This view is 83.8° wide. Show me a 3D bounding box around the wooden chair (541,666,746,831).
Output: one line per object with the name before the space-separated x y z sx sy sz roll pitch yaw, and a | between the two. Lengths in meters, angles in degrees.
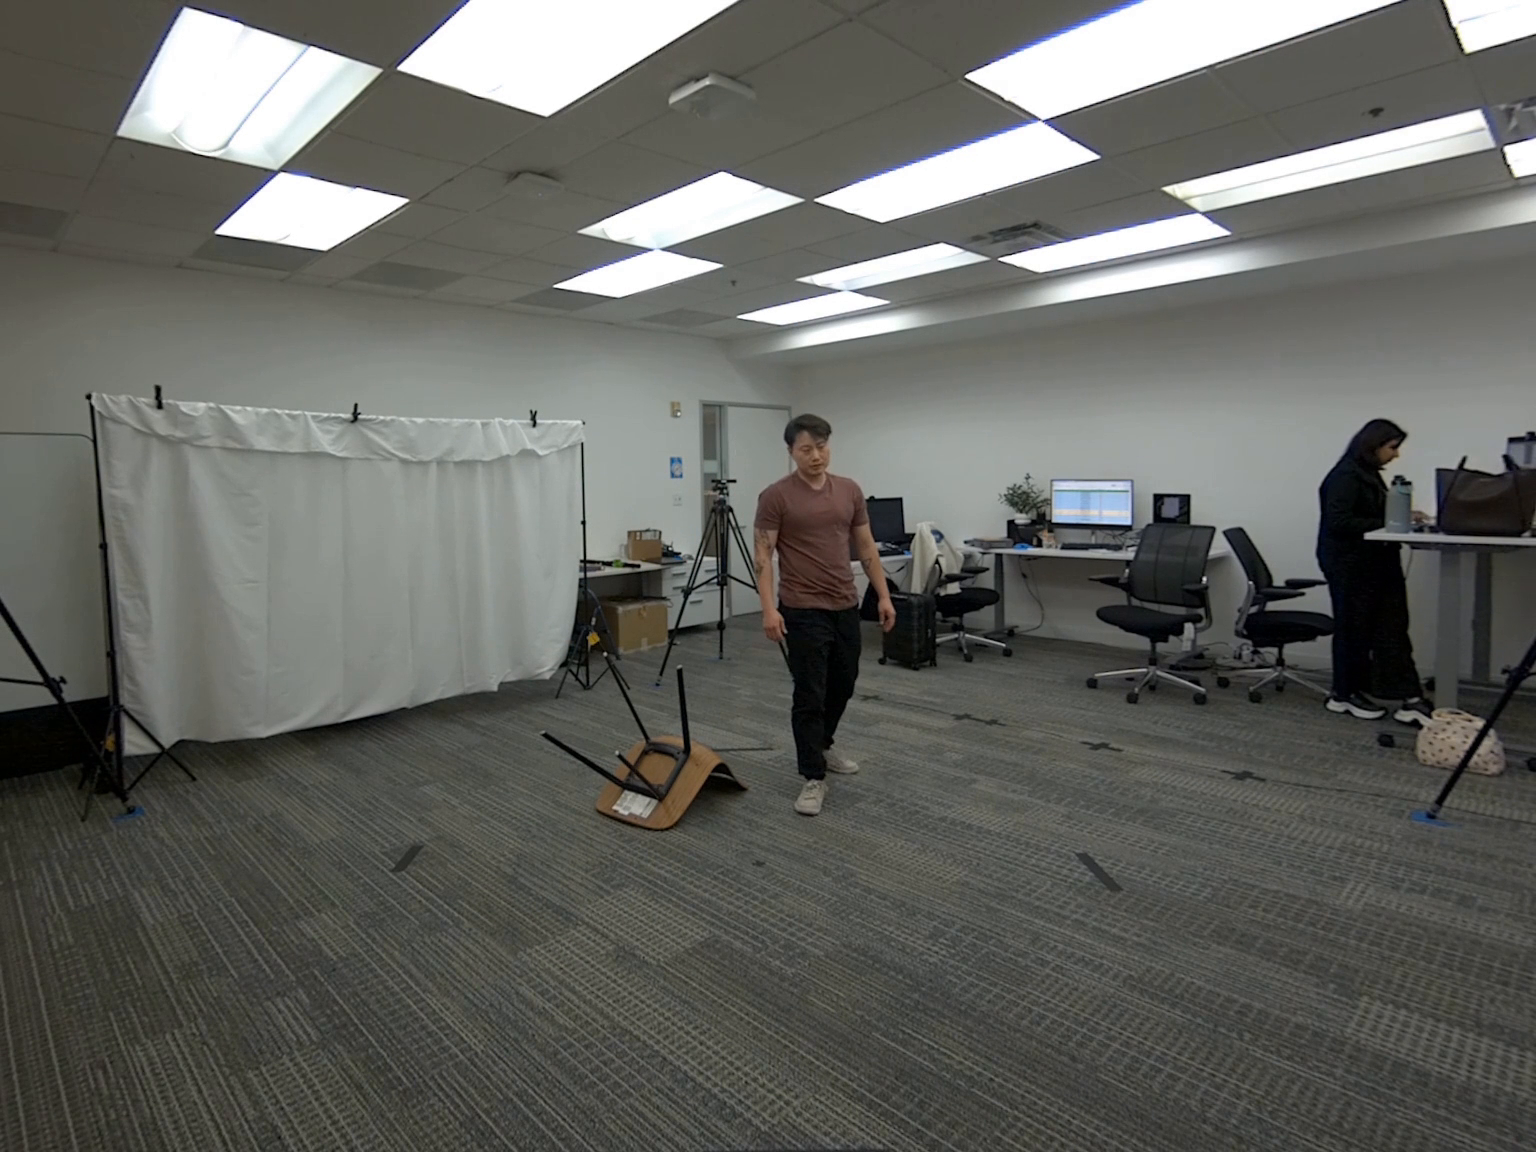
wooden chair | -0.485 0.824 3.650 0.492 0.847 0.526 2 45 37
